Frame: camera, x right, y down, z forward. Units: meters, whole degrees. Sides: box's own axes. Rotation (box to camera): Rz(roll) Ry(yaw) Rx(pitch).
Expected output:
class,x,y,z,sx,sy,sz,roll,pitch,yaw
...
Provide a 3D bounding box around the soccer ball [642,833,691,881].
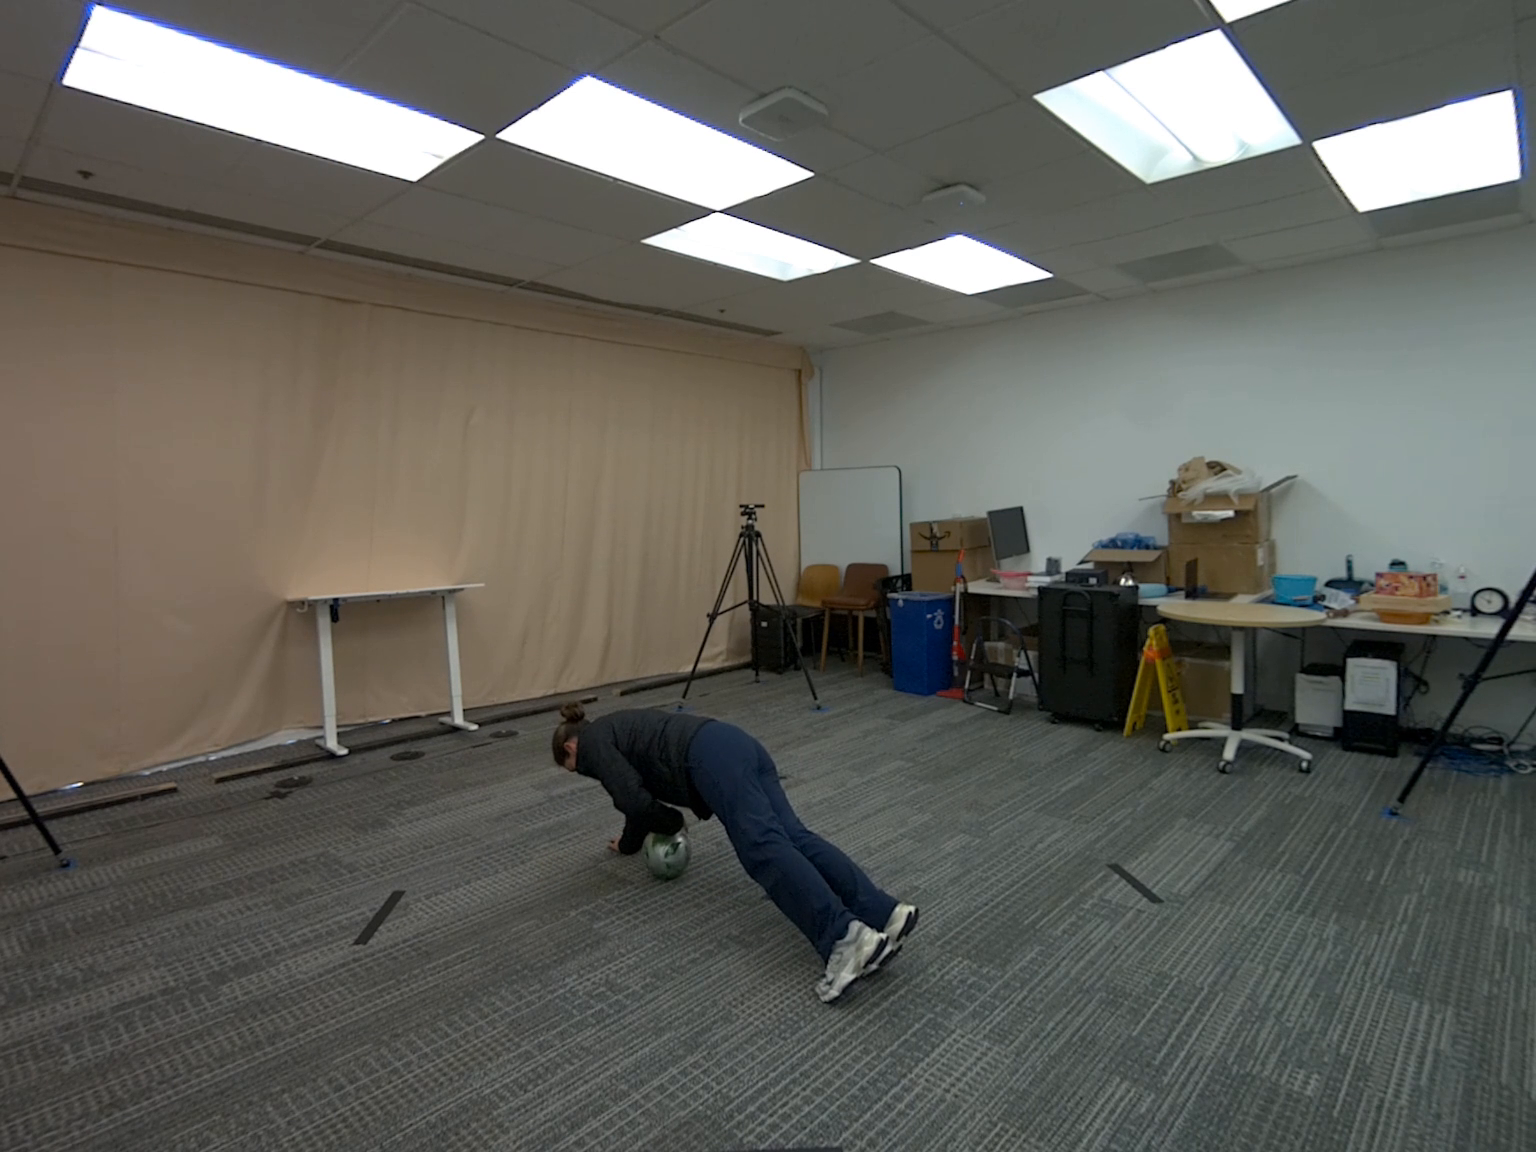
class,x,y,z,sx,sy,sz,roll,pitch,yaw
soccer ball,-0.382,1.040,3.173,0.187,0.187,0.188,-1,4,-2
